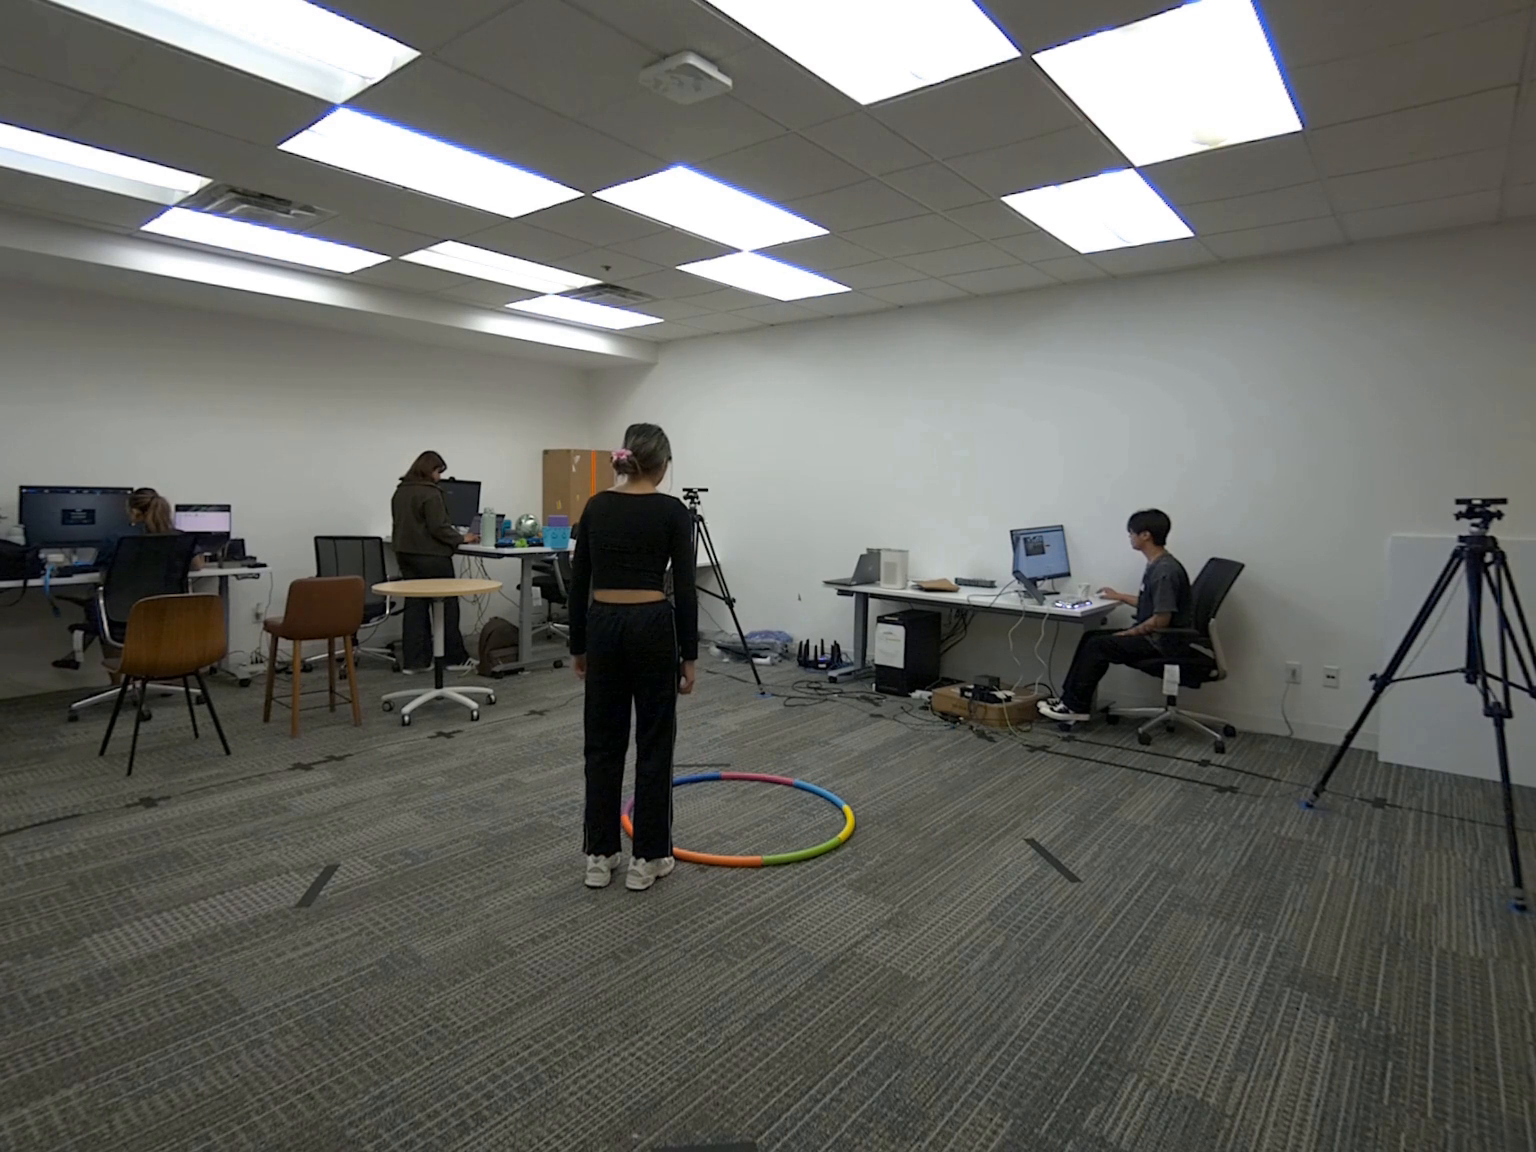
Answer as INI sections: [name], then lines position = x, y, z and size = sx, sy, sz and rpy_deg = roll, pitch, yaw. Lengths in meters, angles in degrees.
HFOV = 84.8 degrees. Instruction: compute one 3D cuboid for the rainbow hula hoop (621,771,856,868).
[rainbow hula hoop]
position = -0.137, 0.992, 3.613
size = 0.978, 0.035, 0.984
rpy_deg = 1, 6, -2
